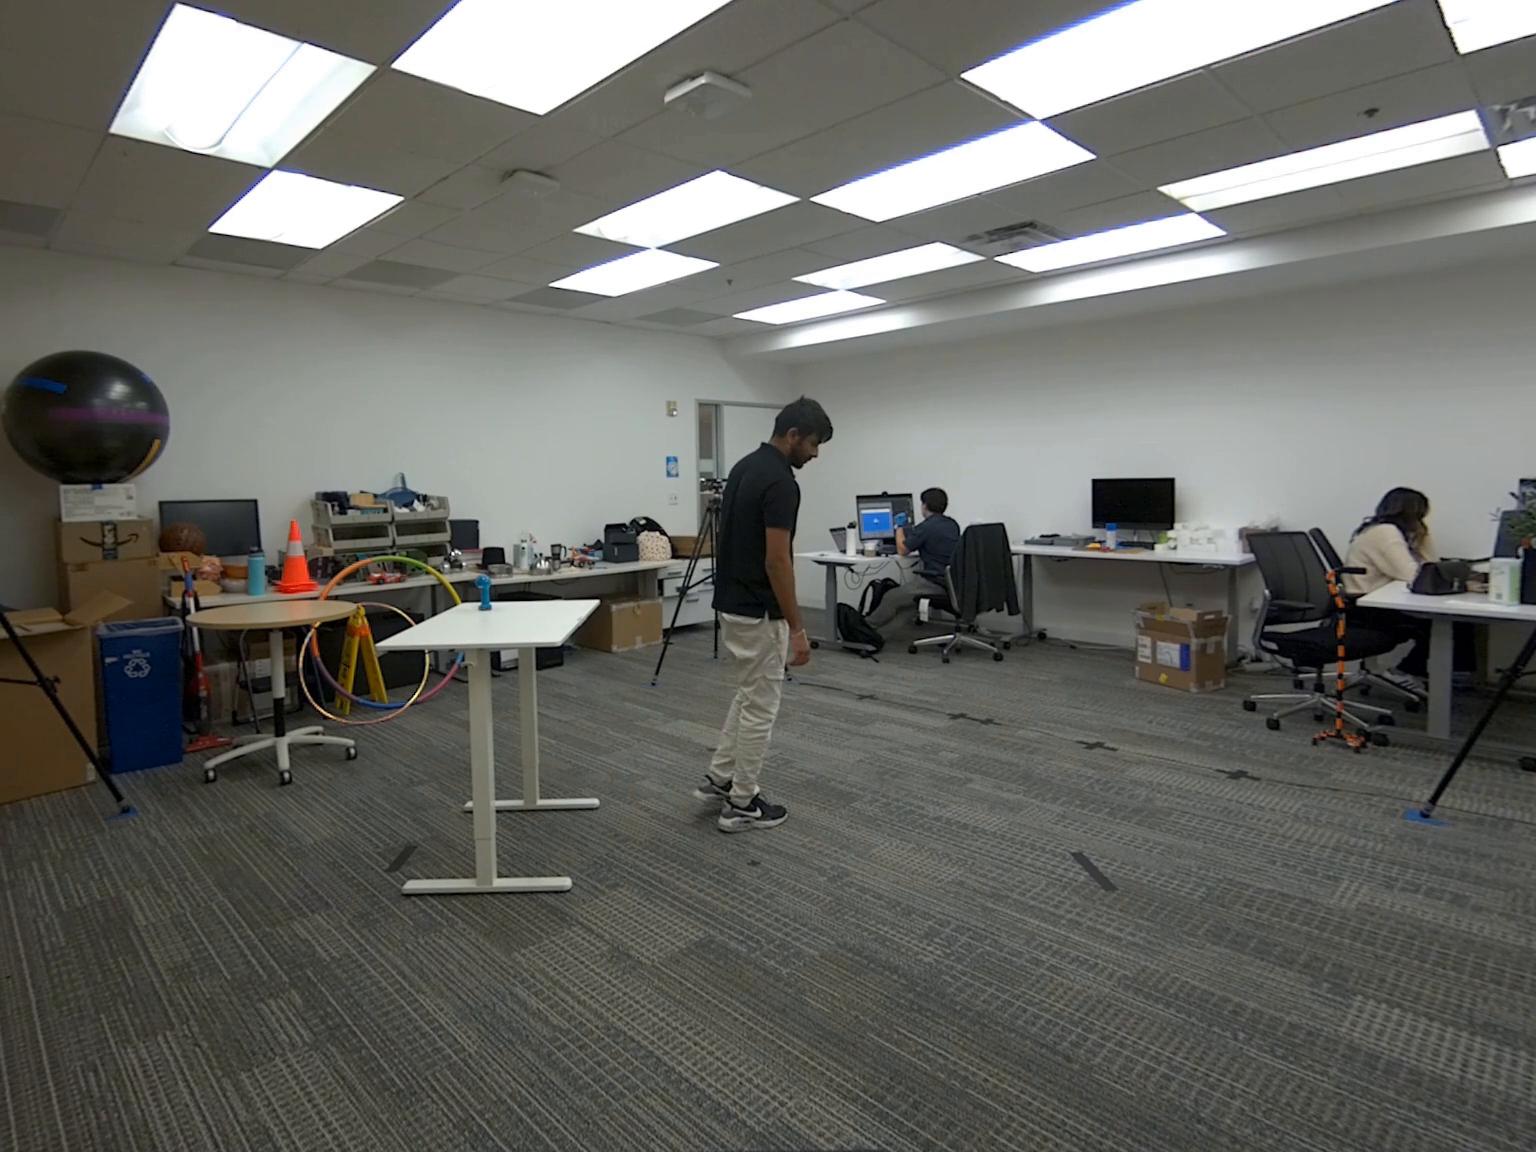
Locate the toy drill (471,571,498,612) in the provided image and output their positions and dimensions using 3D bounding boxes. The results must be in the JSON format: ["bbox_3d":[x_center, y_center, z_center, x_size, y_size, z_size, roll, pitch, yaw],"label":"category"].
[{"bbox_3d":[-1.183,0.061,3.563,0.060,0.145,0.174,-4,4,-30],"label":"toy drill"}]
